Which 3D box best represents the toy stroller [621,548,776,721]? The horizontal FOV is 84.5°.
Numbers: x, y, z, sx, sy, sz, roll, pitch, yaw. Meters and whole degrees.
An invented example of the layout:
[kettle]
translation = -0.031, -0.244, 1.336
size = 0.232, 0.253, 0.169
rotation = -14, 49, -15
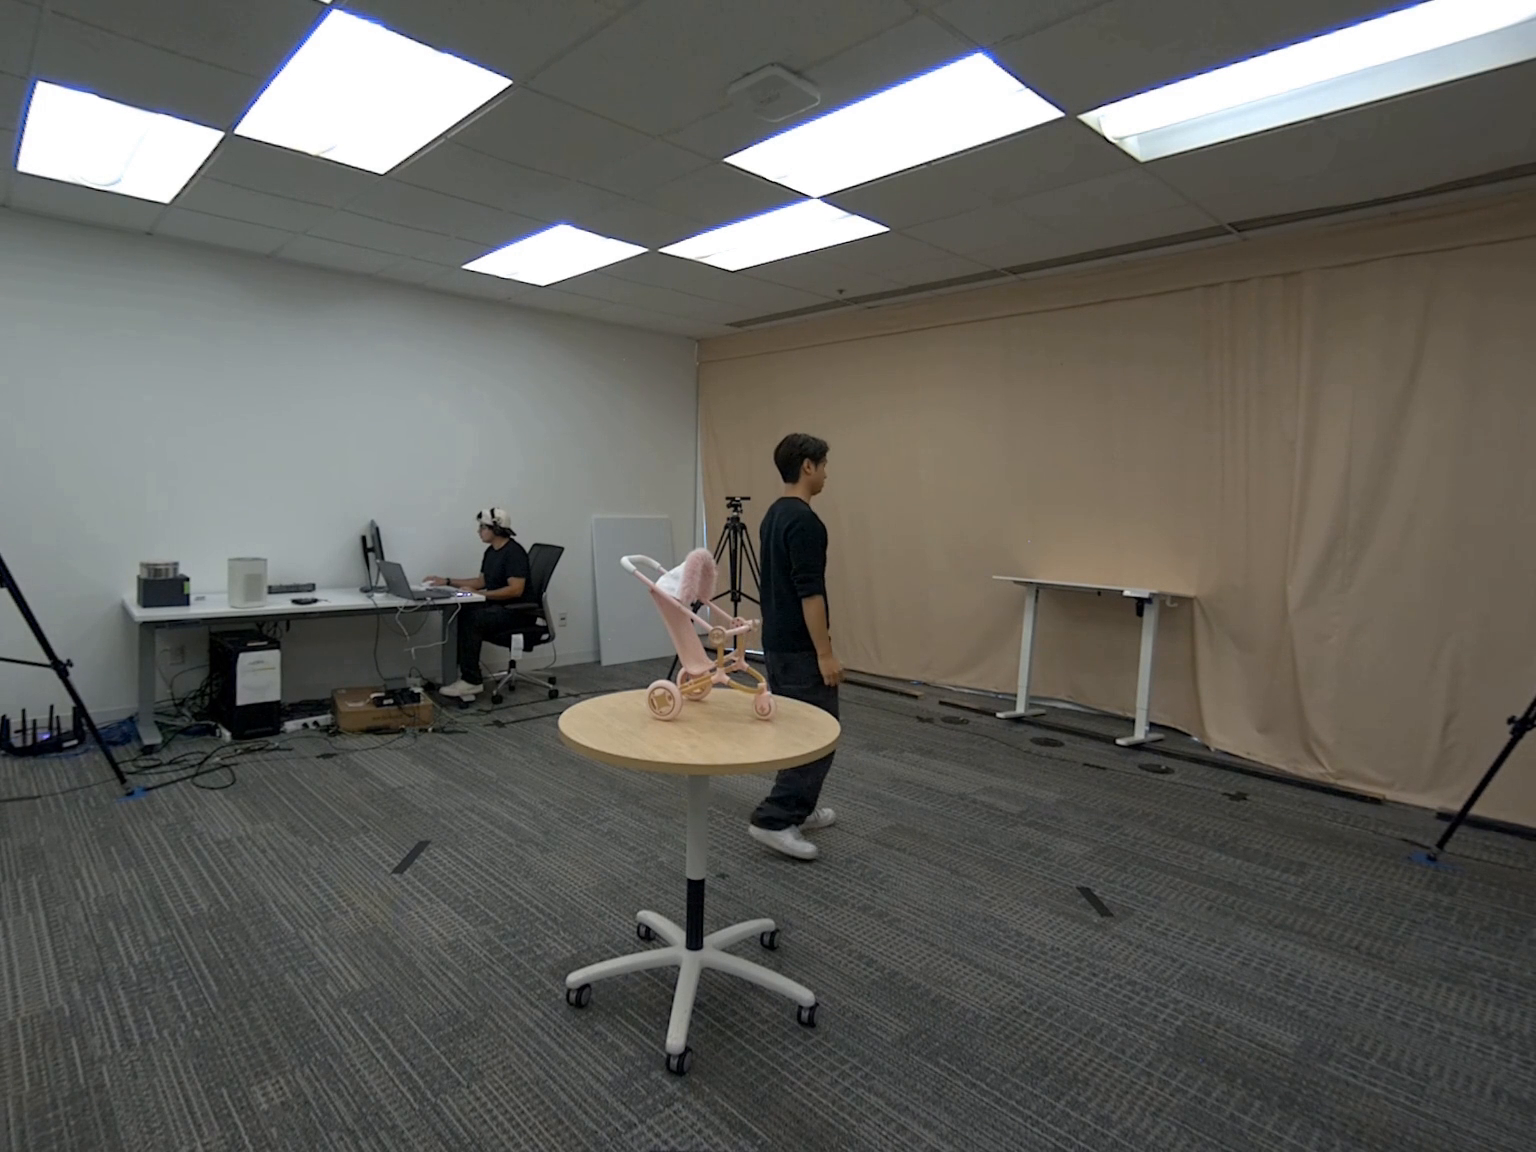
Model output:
[toy stroller]
translation = -0.184, 0.166, 2.364
size = 0.345, 0.536, 0.277
rotation = -14, -3, 20
